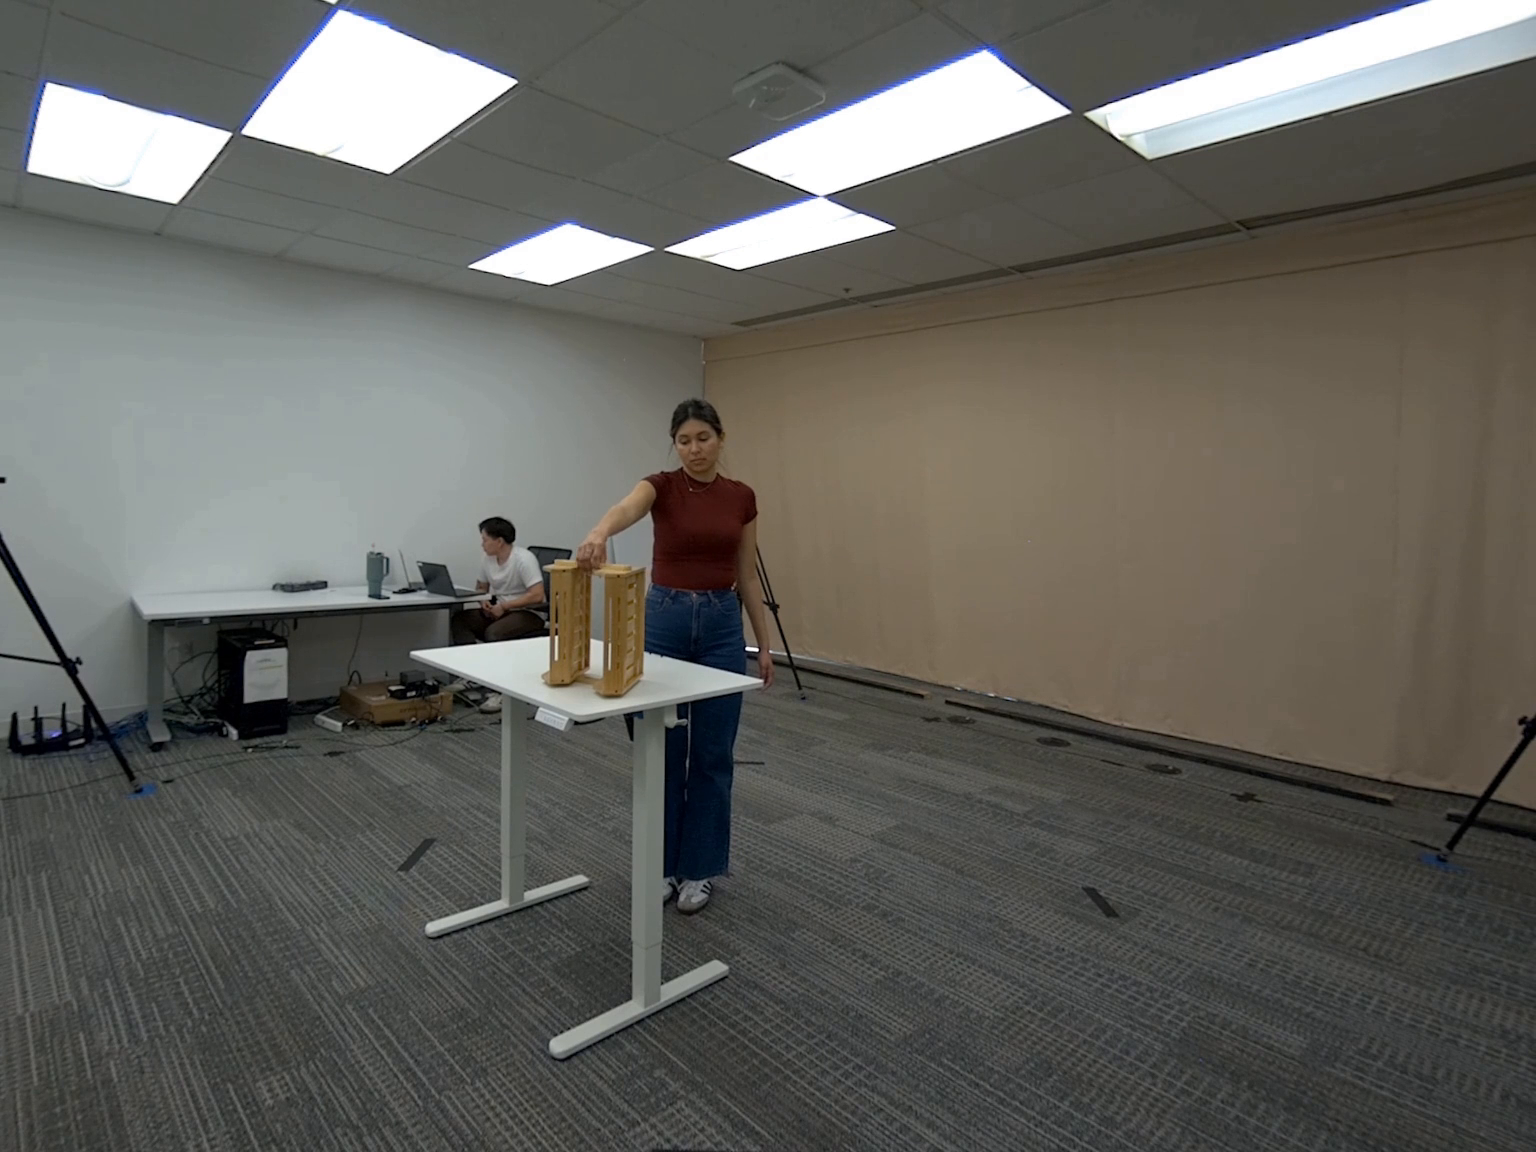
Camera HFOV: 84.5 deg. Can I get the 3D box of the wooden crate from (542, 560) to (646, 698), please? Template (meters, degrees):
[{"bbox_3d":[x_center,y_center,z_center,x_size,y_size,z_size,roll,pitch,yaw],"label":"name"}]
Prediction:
[{"bbox_3d":[-0.495,0.135,2.219,0.275,0.324,0.301,2,3,7],"label":"wooden crate"}]
